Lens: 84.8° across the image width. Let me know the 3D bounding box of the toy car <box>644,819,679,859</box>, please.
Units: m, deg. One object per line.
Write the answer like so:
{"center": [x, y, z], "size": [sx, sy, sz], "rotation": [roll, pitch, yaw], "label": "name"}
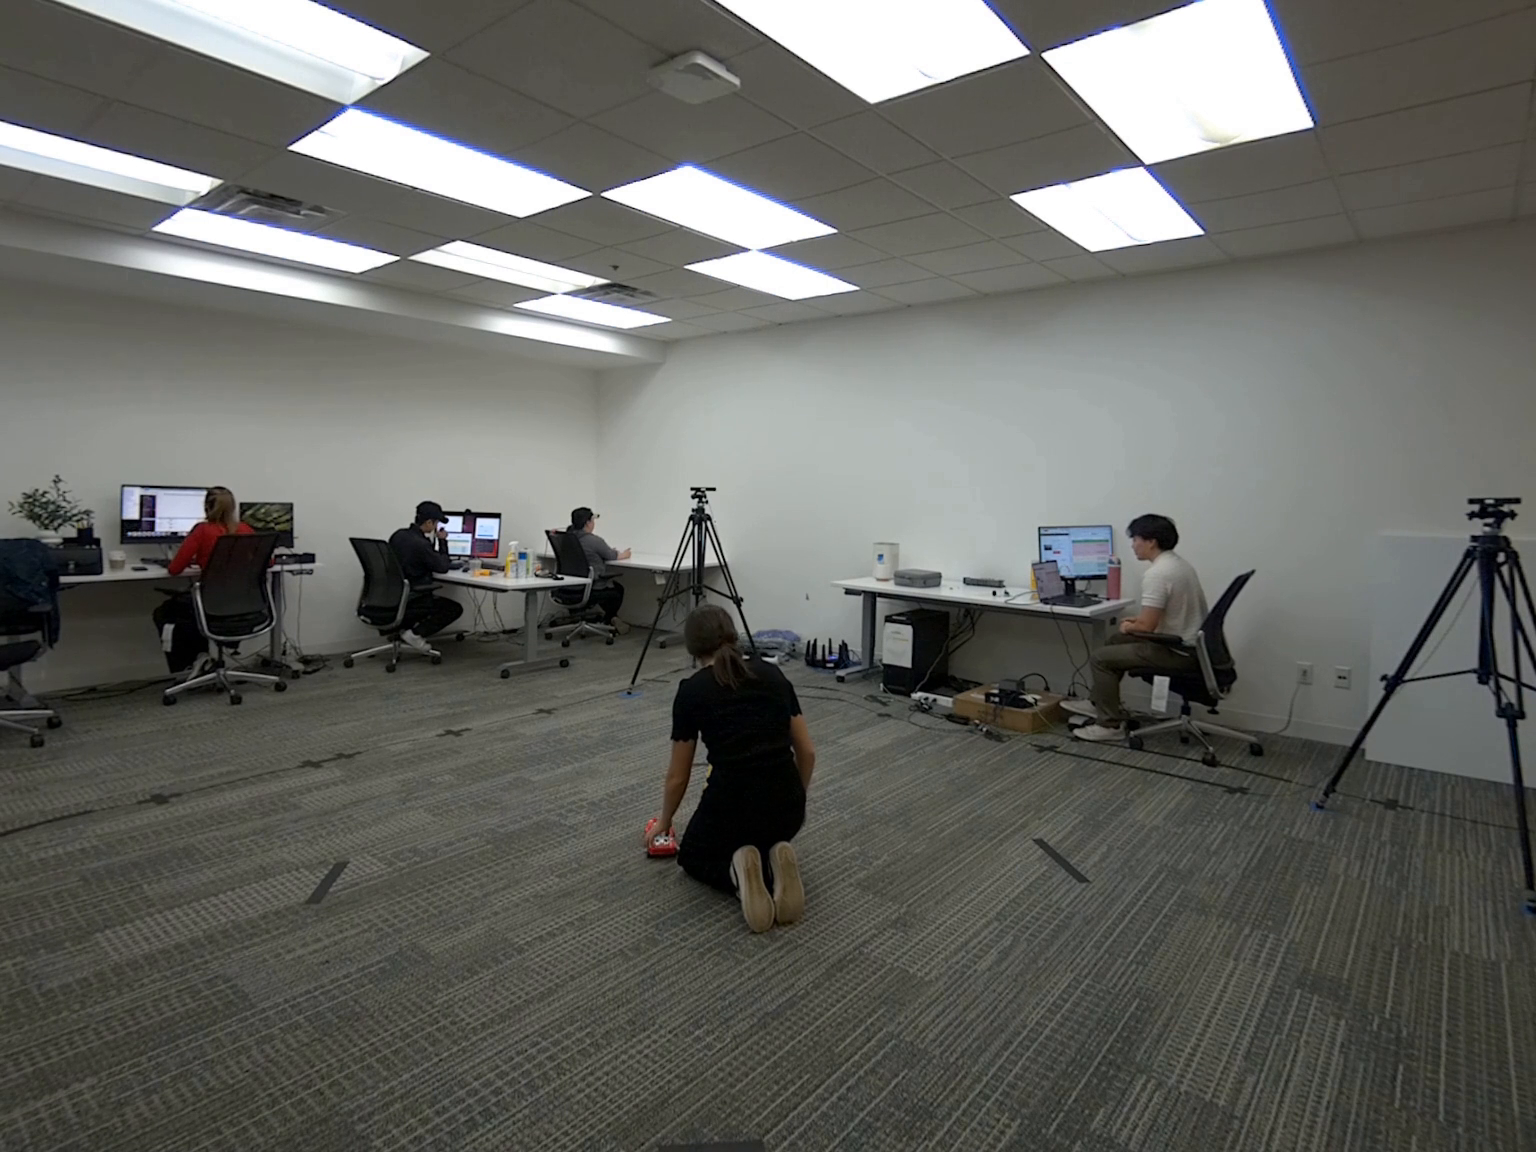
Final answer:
{"center": [-0.424, 1.012, 3.307], "size": [0.129, 0.082, 0.261], "rotation": [-2, 17, -11], "label": "toy car"}
